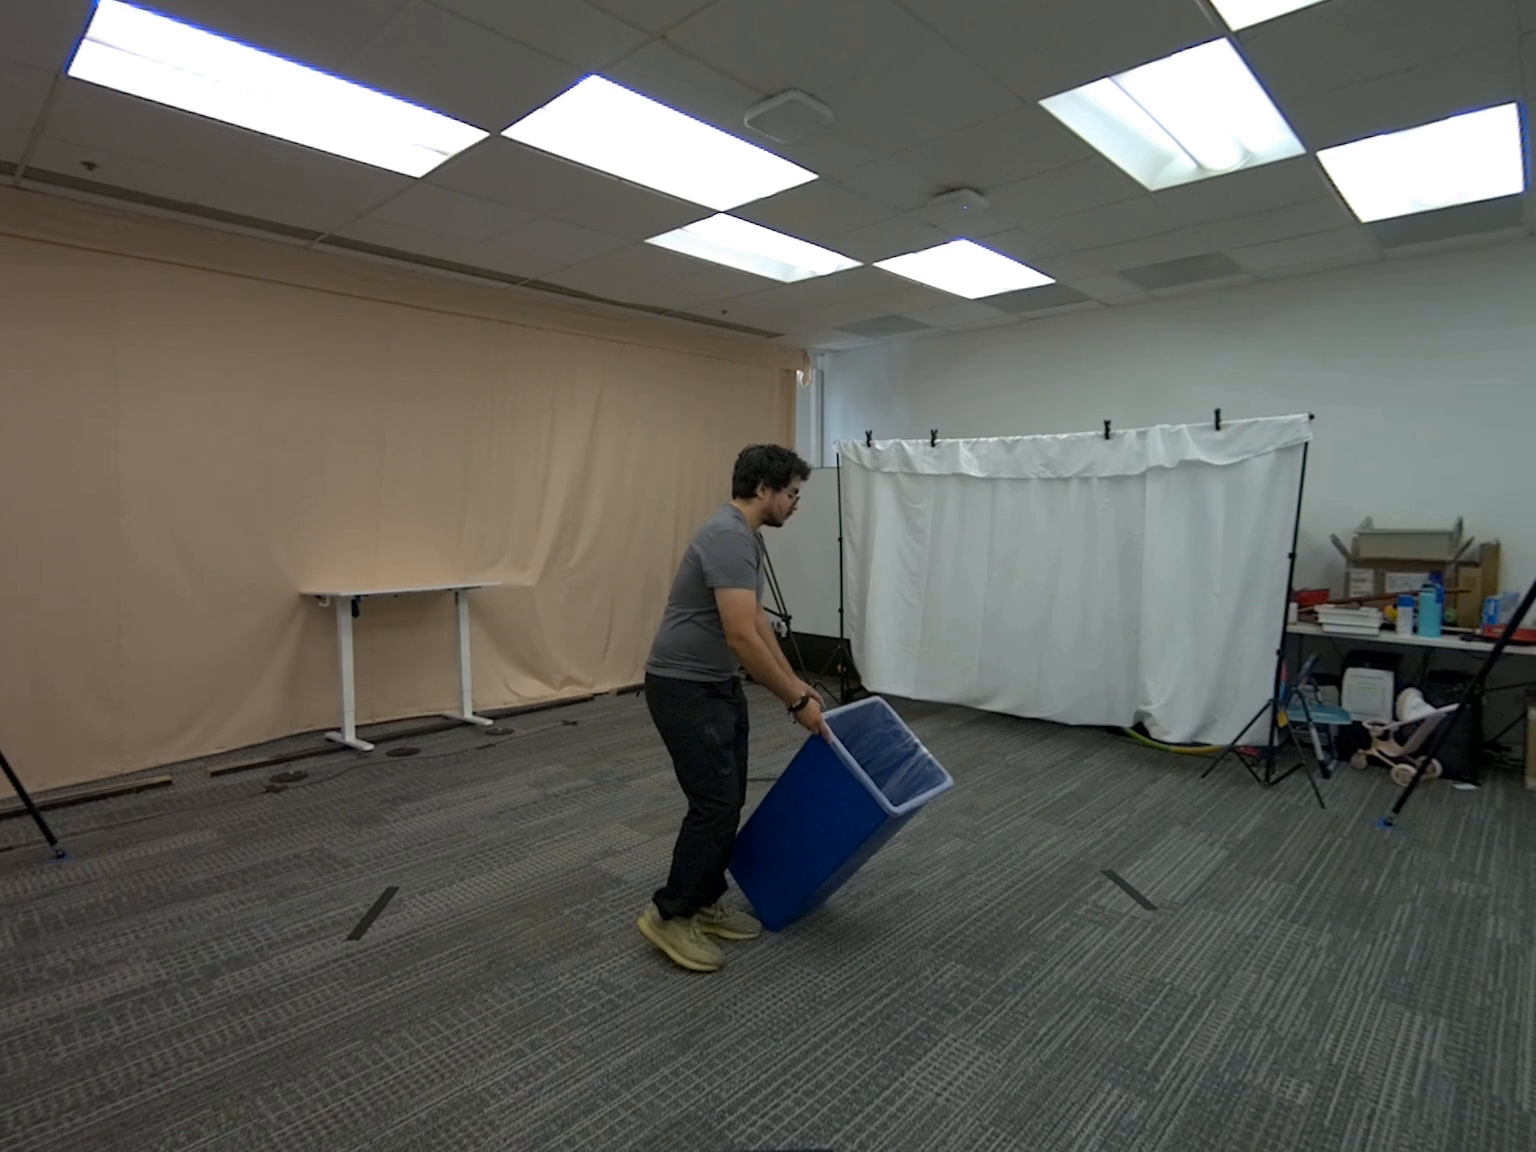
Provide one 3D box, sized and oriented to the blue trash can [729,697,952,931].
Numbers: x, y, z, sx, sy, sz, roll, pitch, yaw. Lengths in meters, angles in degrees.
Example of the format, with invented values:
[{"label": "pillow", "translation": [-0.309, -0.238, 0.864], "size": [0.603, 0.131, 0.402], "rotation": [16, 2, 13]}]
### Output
[{"label": "blue trash can", "translation": [0.192, 0.791, 2.746], "size": [0.367, 0.714, 0.385], "rotation": [-6, 48, -49]}]
